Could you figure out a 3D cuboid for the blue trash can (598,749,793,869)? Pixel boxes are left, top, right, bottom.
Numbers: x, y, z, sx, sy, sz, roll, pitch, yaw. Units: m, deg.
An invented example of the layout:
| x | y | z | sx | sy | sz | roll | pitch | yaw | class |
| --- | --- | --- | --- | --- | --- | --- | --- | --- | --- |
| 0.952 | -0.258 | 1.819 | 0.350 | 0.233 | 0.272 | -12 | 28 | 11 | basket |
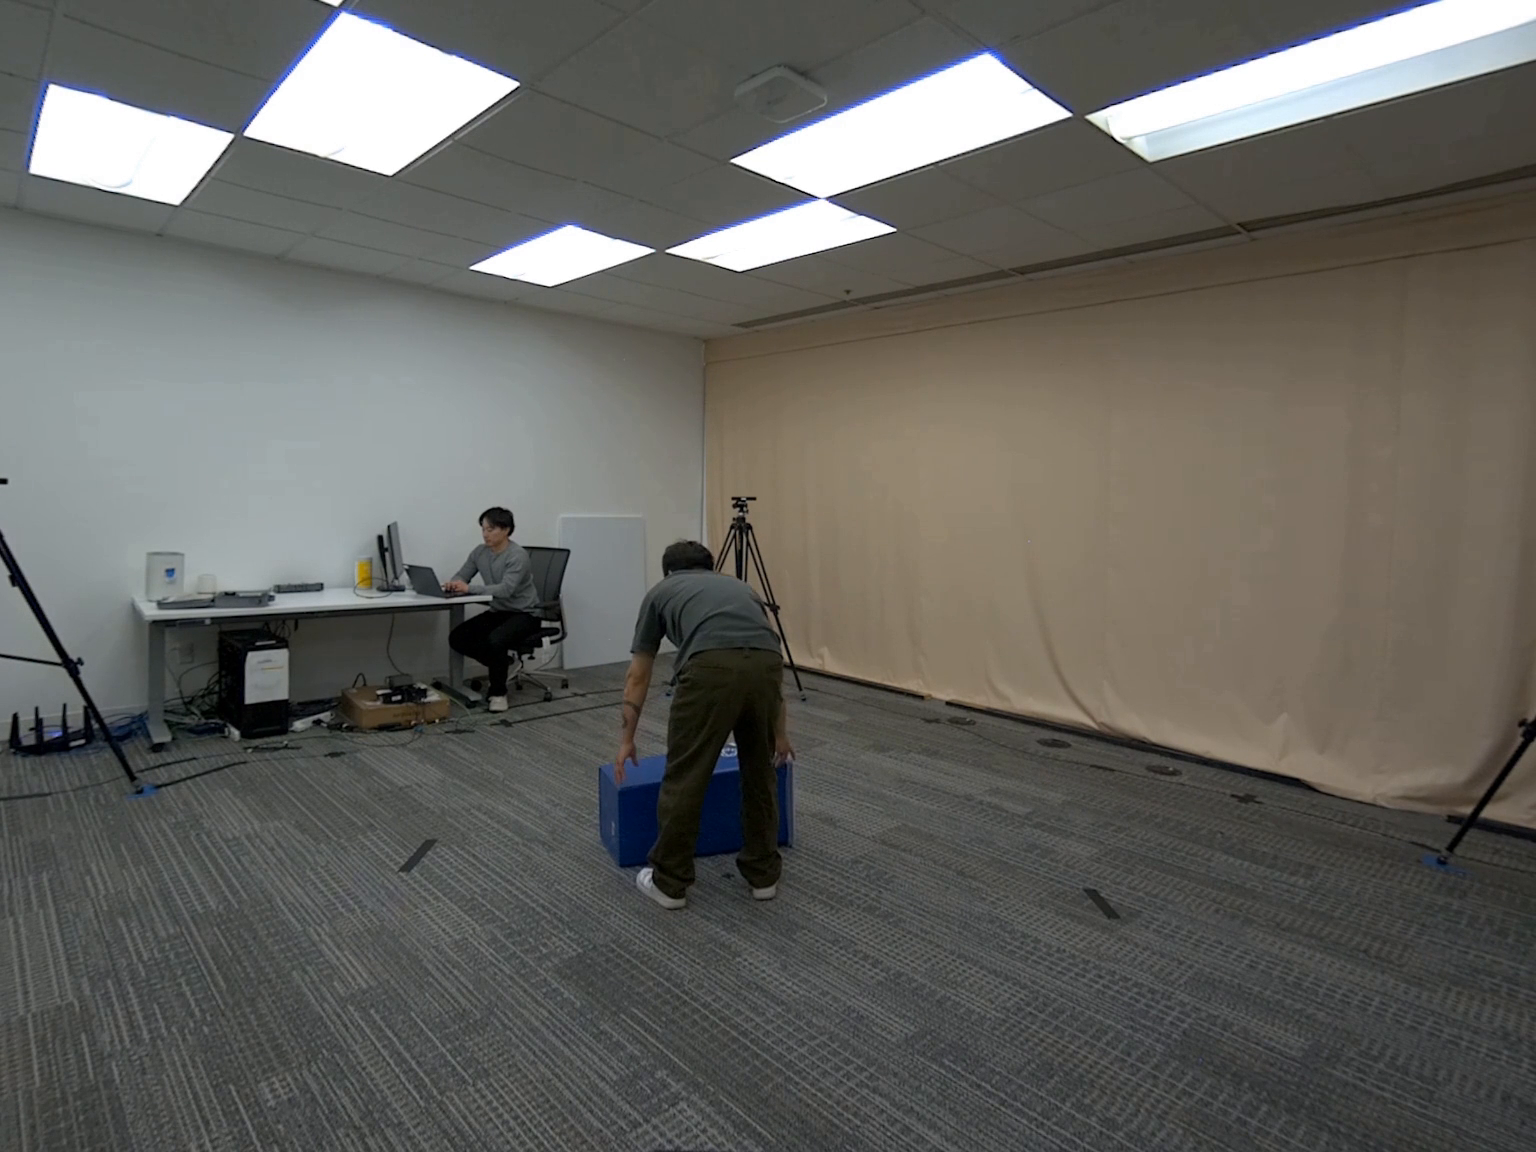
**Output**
| x | y | z | sx | sy | sz | roll | pitch | yaw | class |
| --- | --- | --- | --- | --- | --- | --- | --- | --- | --- |
| -0.302 | 0.911 | 3.397 | 0.702 | 0.372 | 0.385 | -3 | 6 | -23 | blue trash can |
